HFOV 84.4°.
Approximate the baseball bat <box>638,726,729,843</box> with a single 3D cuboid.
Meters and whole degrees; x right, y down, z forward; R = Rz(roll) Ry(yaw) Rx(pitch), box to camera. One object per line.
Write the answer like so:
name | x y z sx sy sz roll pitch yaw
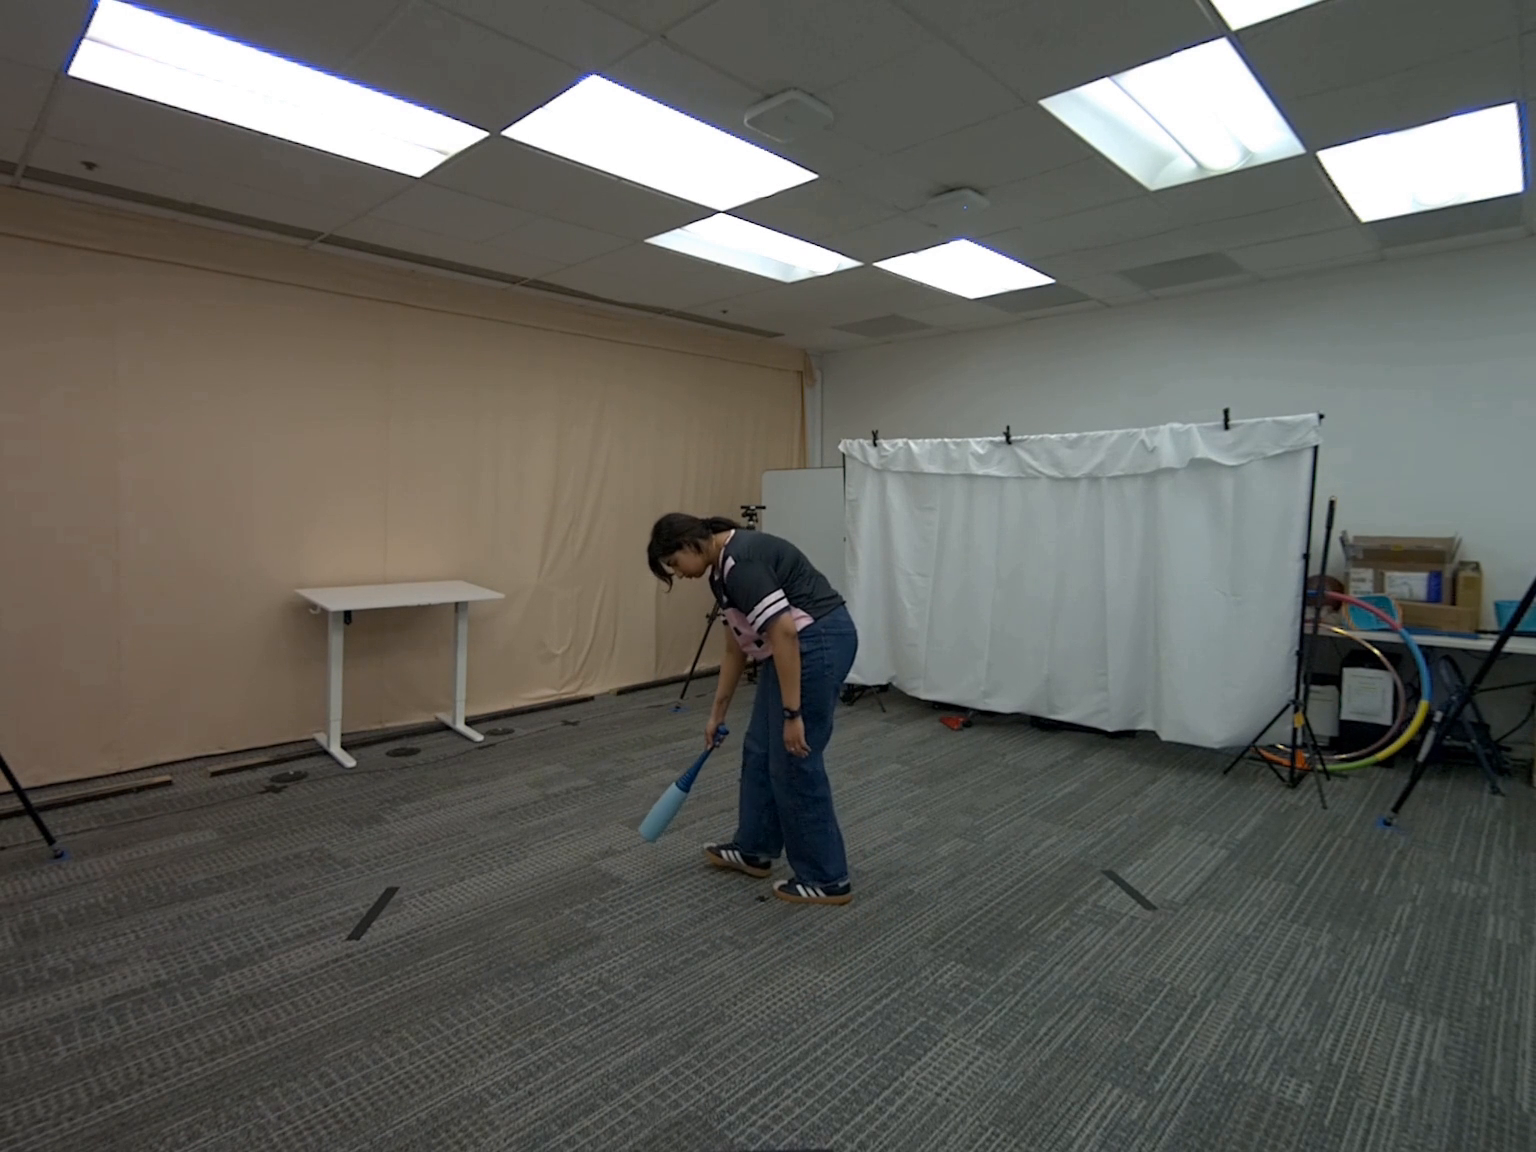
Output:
baseball bat | -0.312 0.807 3.232 0.088 0.543 0.090 34 10 -9
